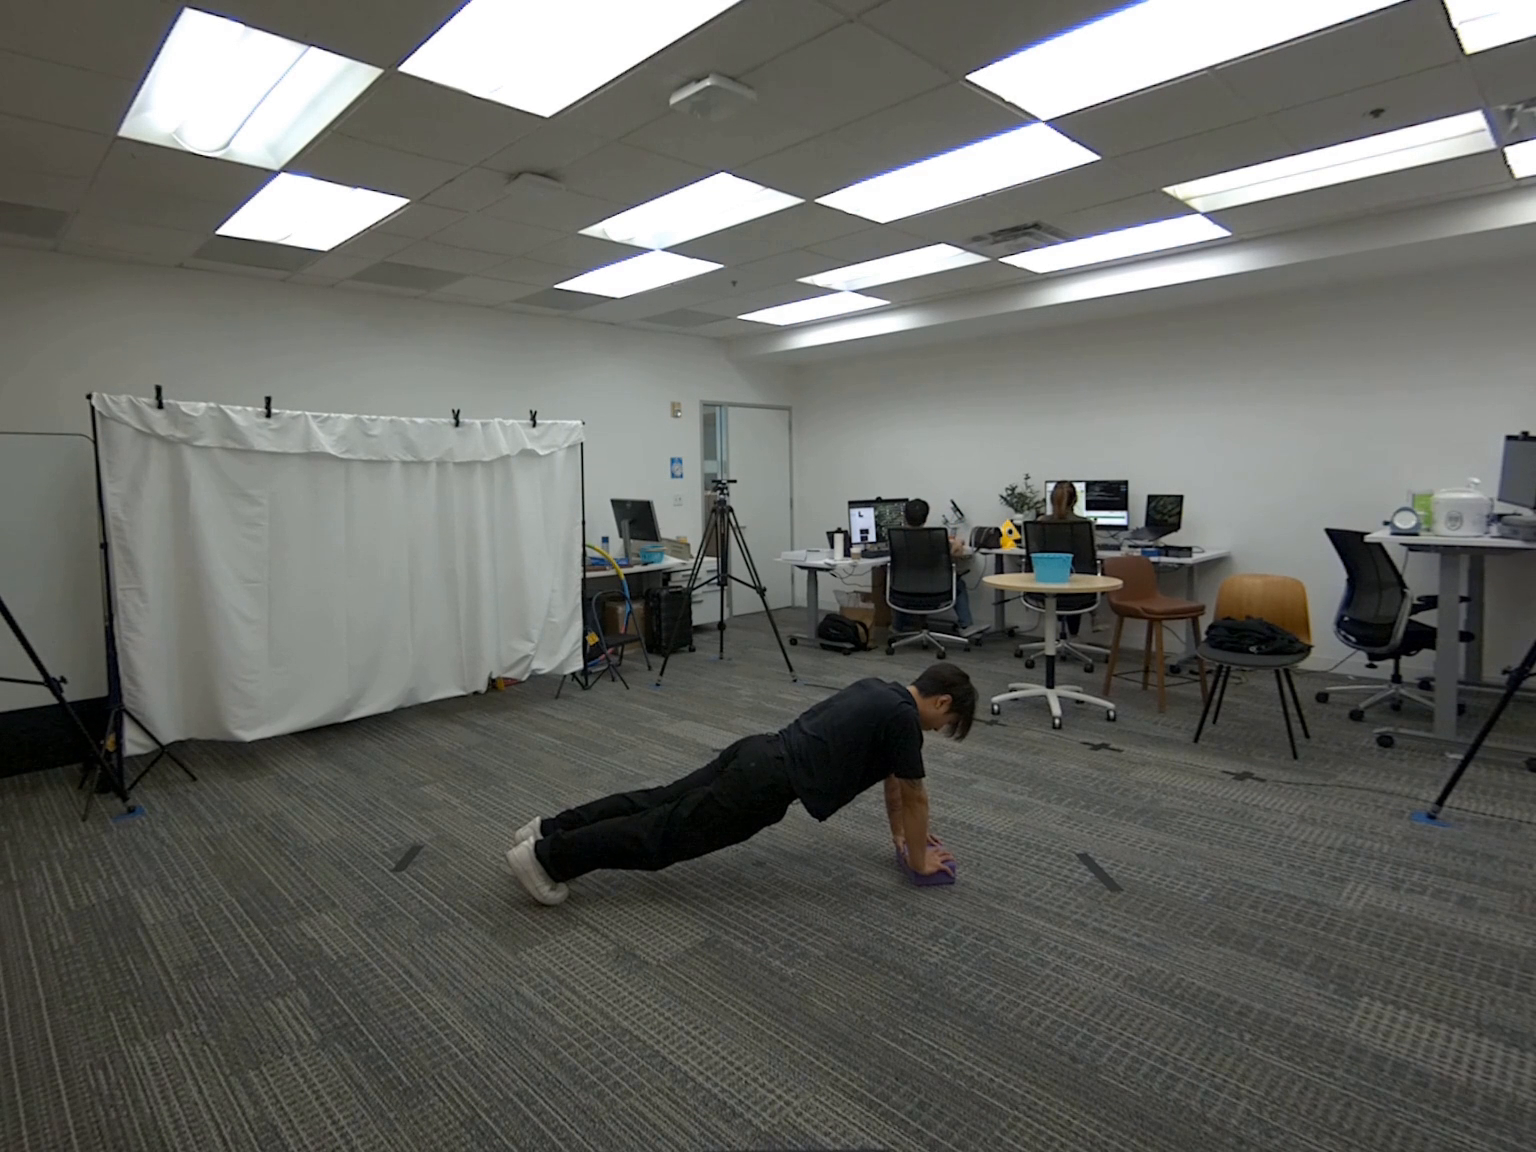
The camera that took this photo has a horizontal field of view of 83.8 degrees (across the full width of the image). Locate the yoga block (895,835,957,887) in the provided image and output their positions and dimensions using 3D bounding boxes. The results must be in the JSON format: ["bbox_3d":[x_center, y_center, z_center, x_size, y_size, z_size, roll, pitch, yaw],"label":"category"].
[{"bbox_3d":[0.555,1.003,3.025,0.148,0.076,0.232,-2,5,-8],"label":"yoga block"}]
